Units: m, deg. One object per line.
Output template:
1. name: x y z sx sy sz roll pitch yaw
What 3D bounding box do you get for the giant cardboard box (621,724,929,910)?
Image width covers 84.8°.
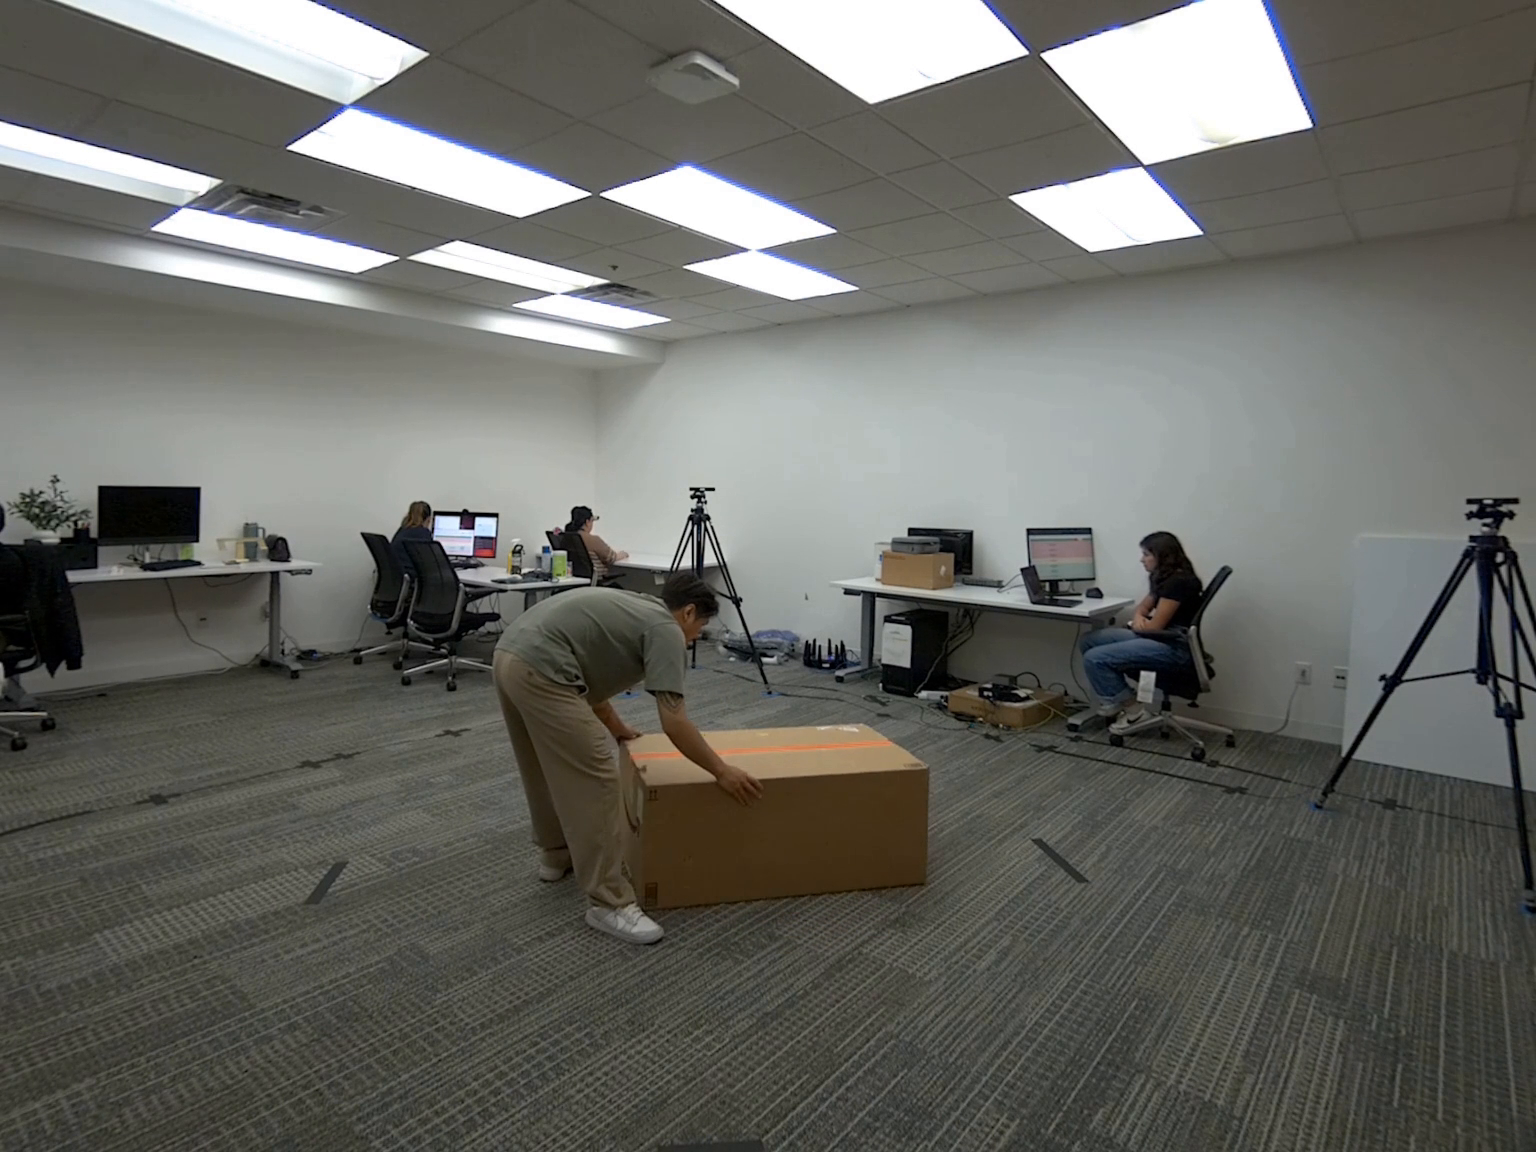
1. giant cardboard box: -0.012 0.845 3.159 1.010 0.424 0.589 -1 5 -15
